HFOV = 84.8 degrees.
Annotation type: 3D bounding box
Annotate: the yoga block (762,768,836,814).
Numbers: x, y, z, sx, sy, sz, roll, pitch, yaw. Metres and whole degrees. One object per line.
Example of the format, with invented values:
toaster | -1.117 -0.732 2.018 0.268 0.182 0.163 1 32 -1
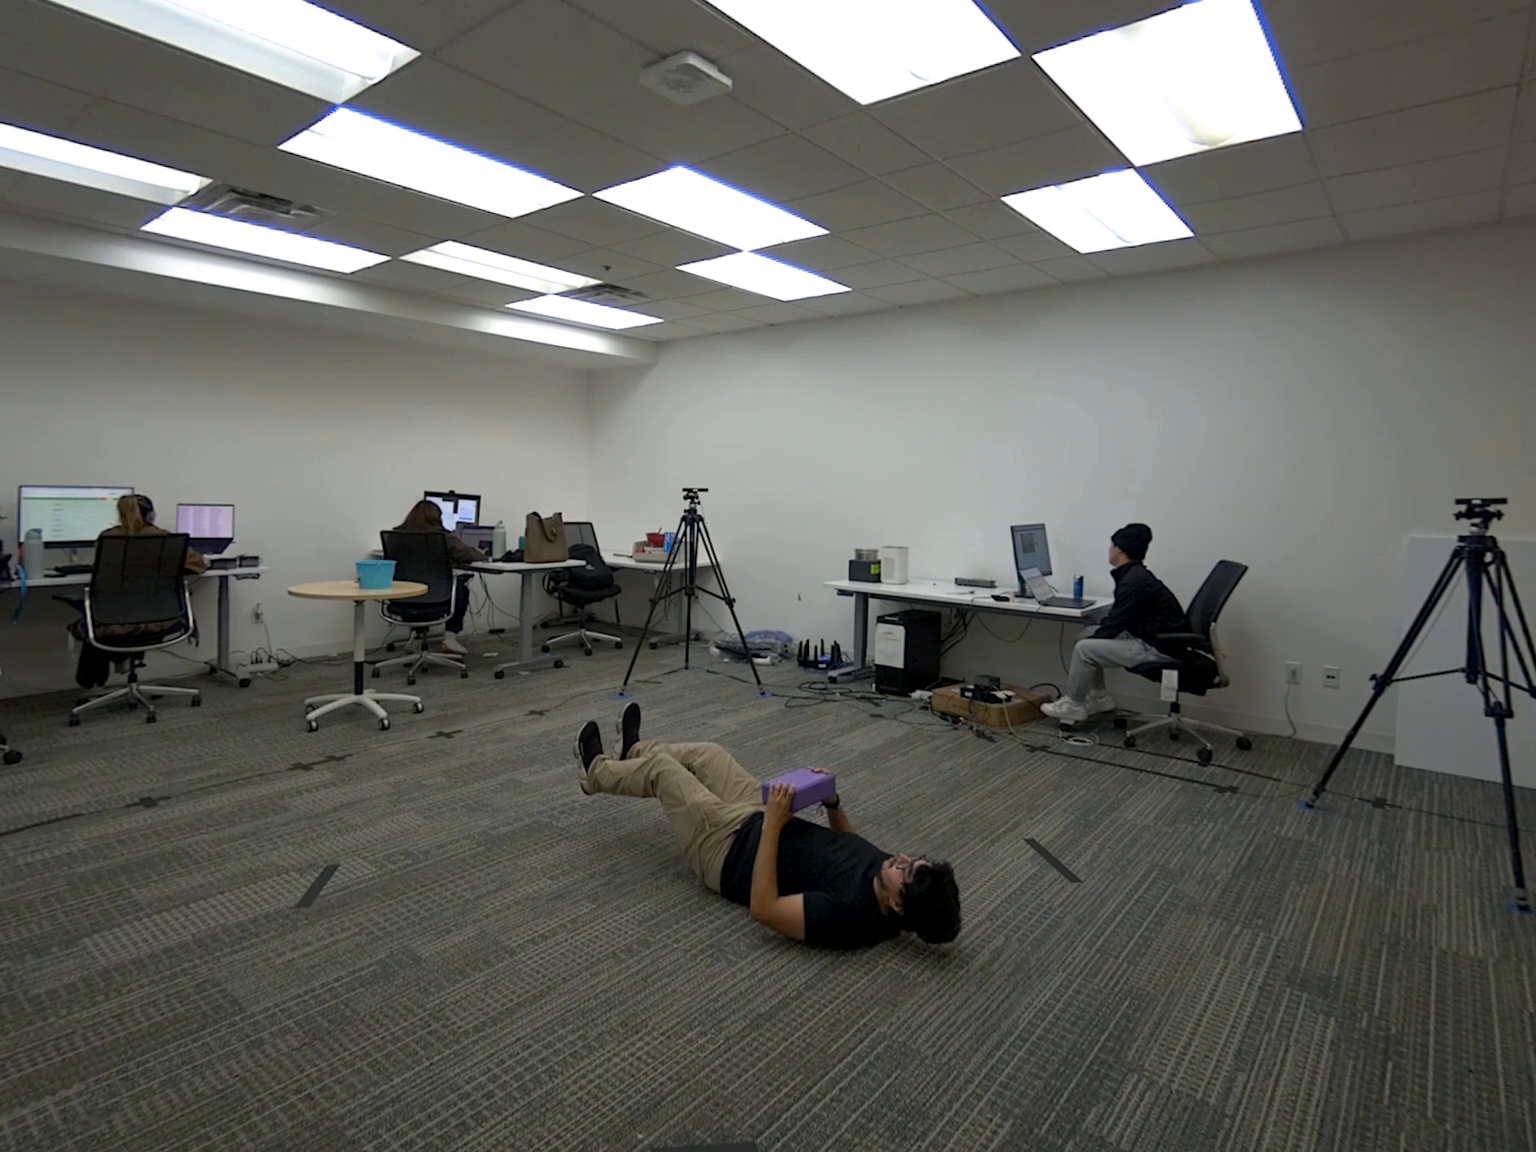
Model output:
yoga block | 0.103 0.730 2.908 0.154 0.076 0.222 2 5 42
